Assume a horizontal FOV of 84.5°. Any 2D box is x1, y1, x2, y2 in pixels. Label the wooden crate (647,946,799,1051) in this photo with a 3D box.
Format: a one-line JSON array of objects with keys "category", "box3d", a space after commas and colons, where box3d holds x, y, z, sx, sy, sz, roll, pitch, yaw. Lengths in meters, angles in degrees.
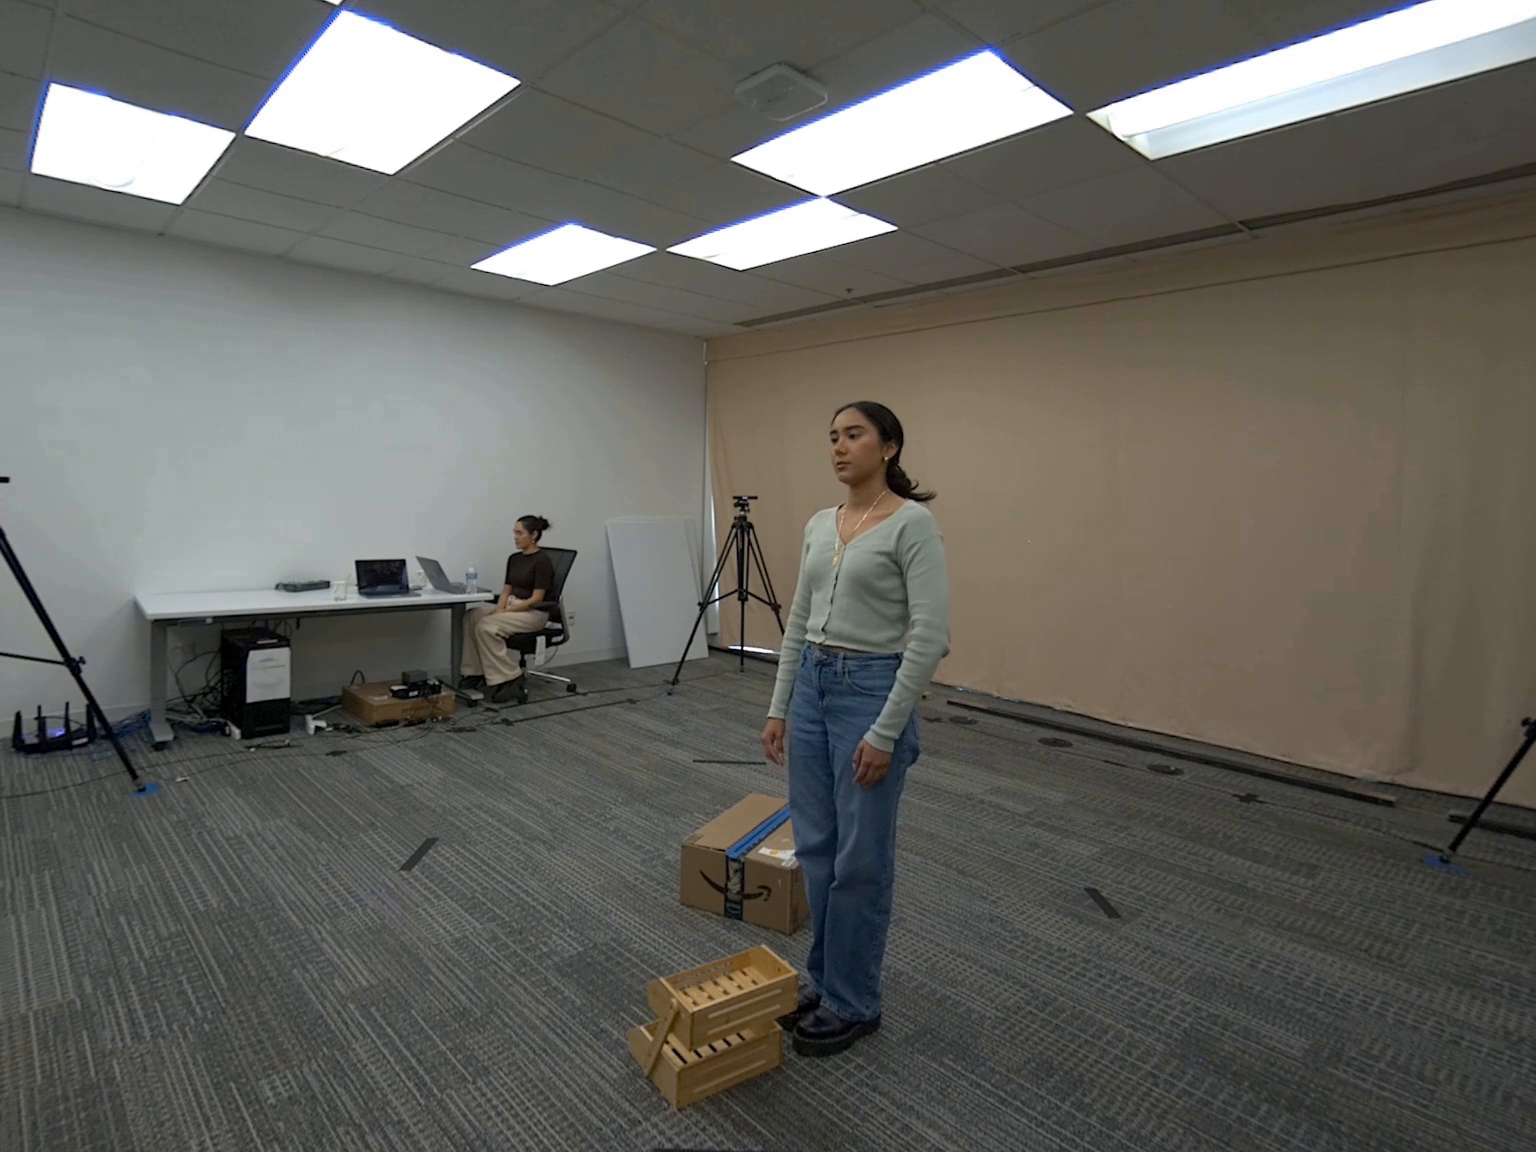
[{"category": "wooden crate", "box3d": [-0.140, 1.060, 2.066, 0.317, 0.272, 0.310, -1, 6, -35]}]
